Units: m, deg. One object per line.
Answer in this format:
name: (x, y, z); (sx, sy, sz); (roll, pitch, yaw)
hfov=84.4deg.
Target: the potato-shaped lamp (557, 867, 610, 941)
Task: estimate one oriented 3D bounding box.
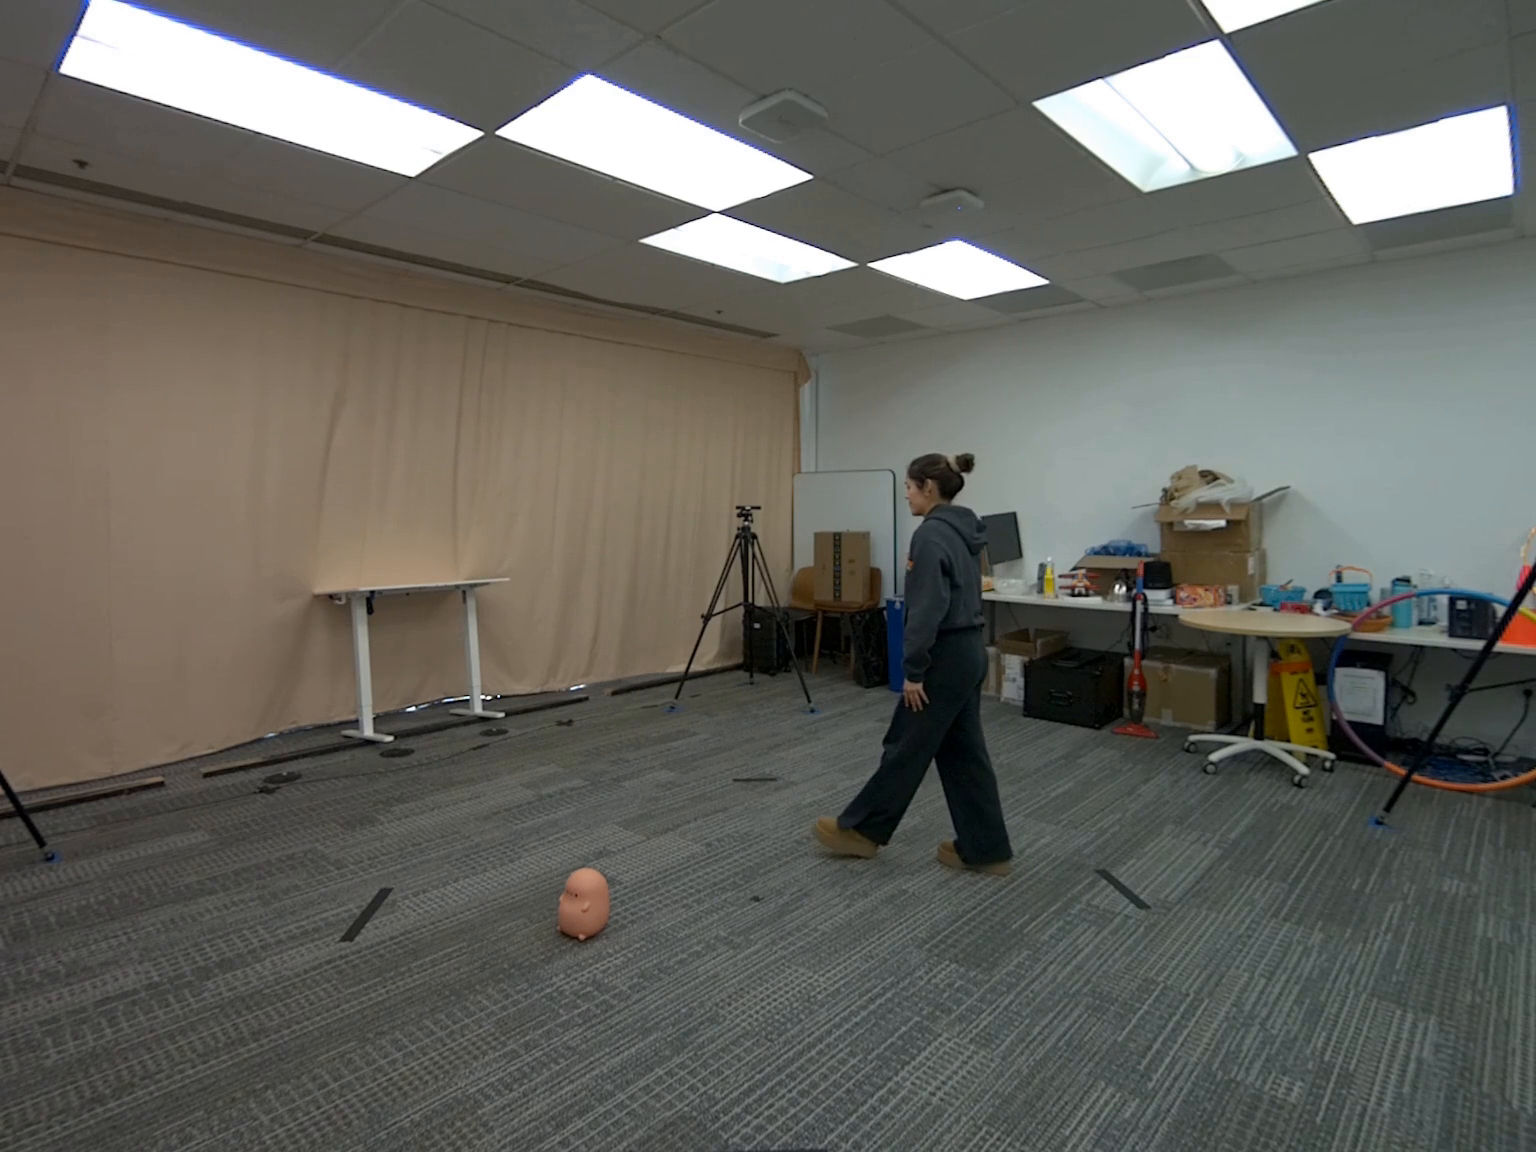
potato-shaped lamp: (-0.583, 1.072, 2.770); (0.170, 0.197, 0.167); (0, 5, 35)
